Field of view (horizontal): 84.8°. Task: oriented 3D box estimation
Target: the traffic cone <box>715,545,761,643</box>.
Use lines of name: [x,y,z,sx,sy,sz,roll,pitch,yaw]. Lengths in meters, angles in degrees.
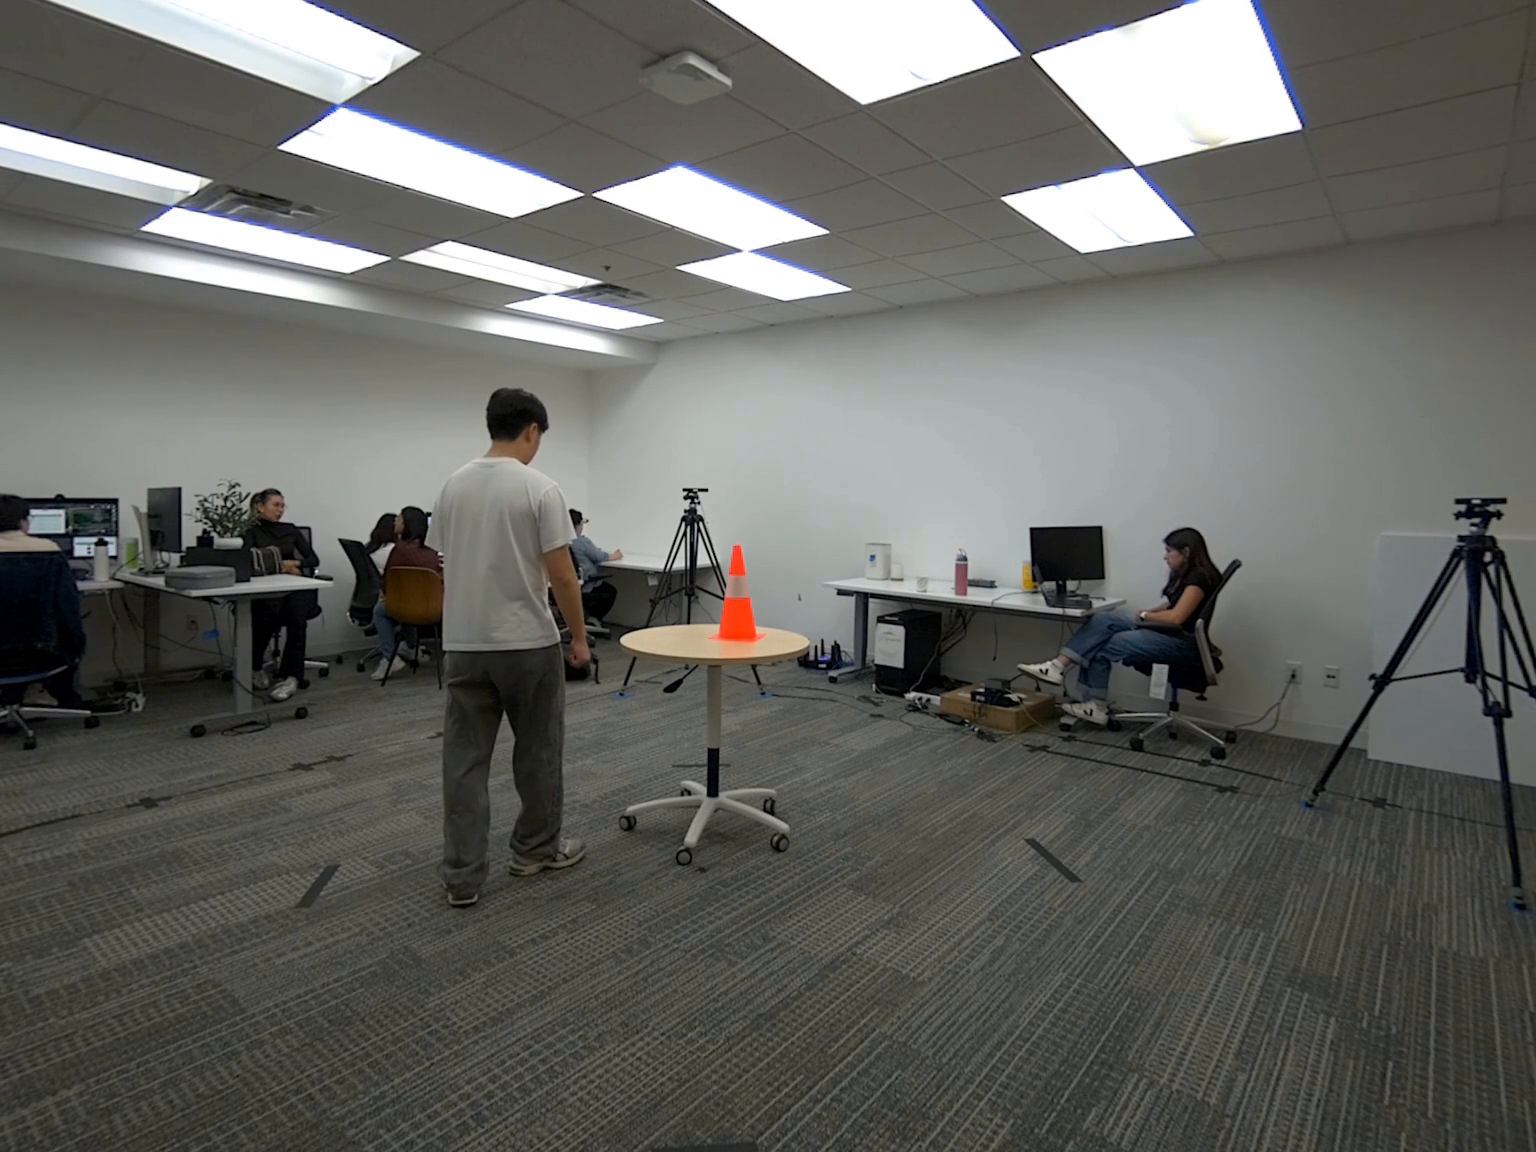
traffic cone: [-0.123,0.058,3.501,0.209,0.382,0.200,2,4,17]
